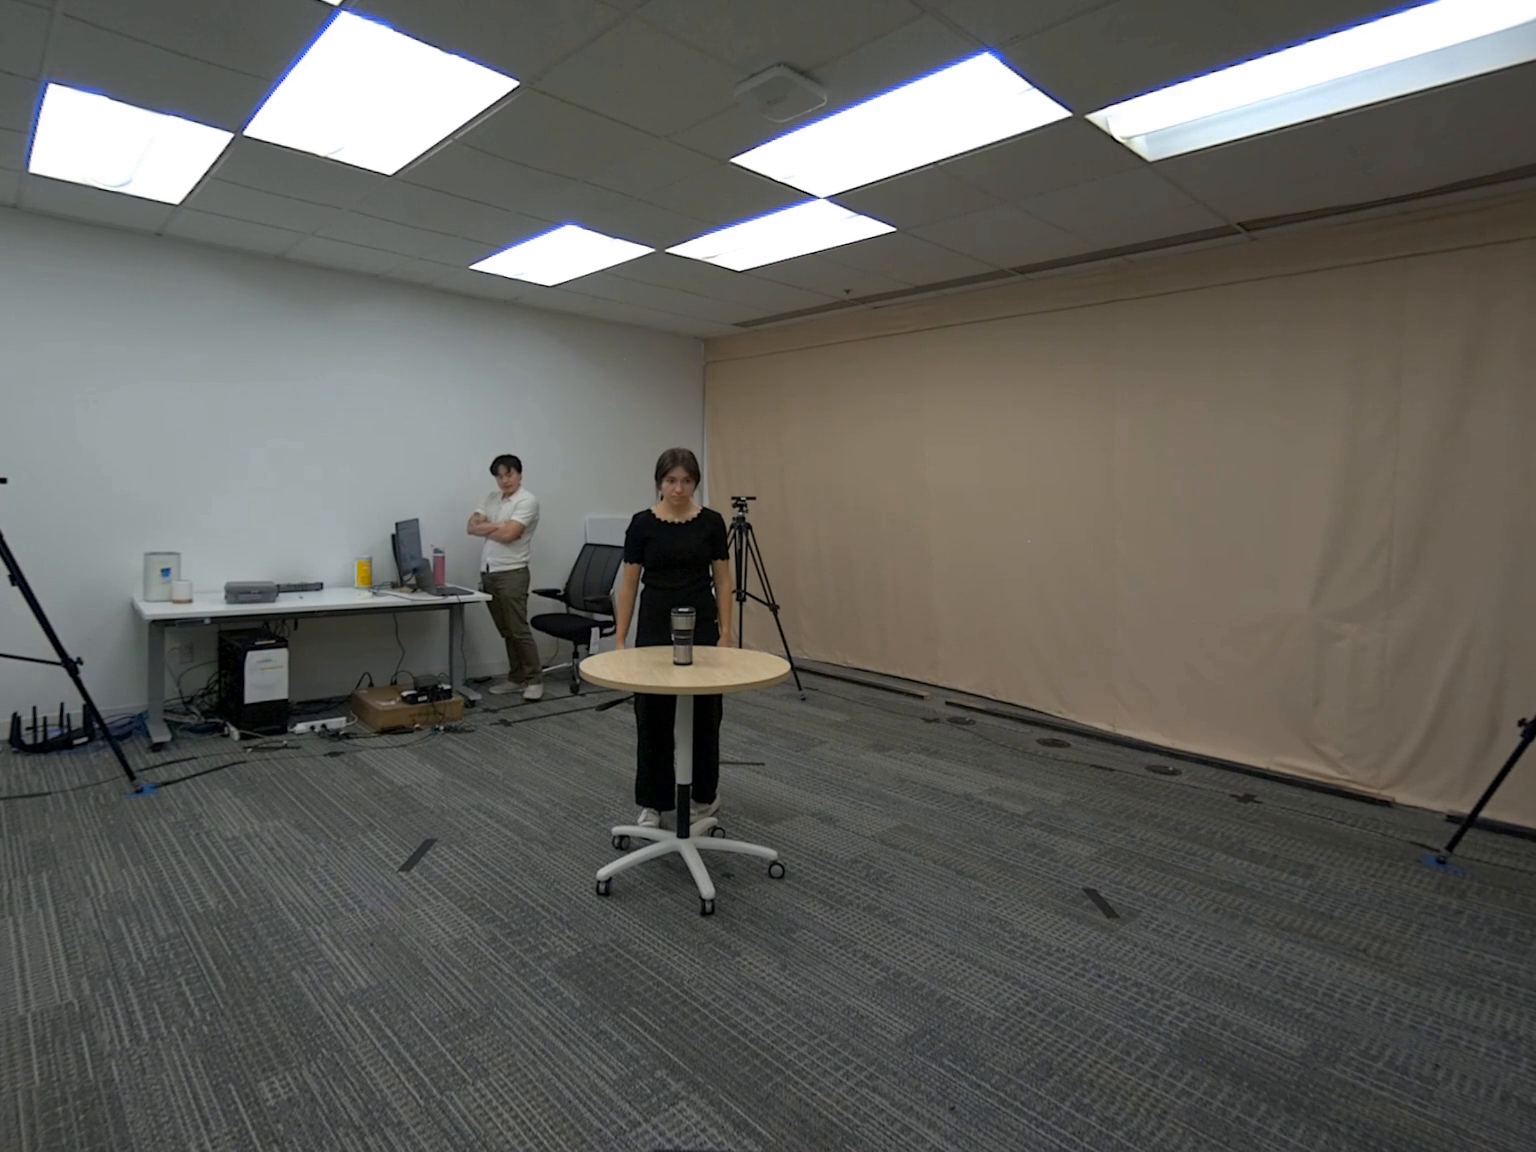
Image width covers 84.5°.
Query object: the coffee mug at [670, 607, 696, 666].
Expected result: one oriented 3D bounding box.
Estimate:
[{"bbox_3d":[-0.311,0.223,3.071,0.090,0.202,0.119,-1,4,39],"label":"coffee mug"}]
